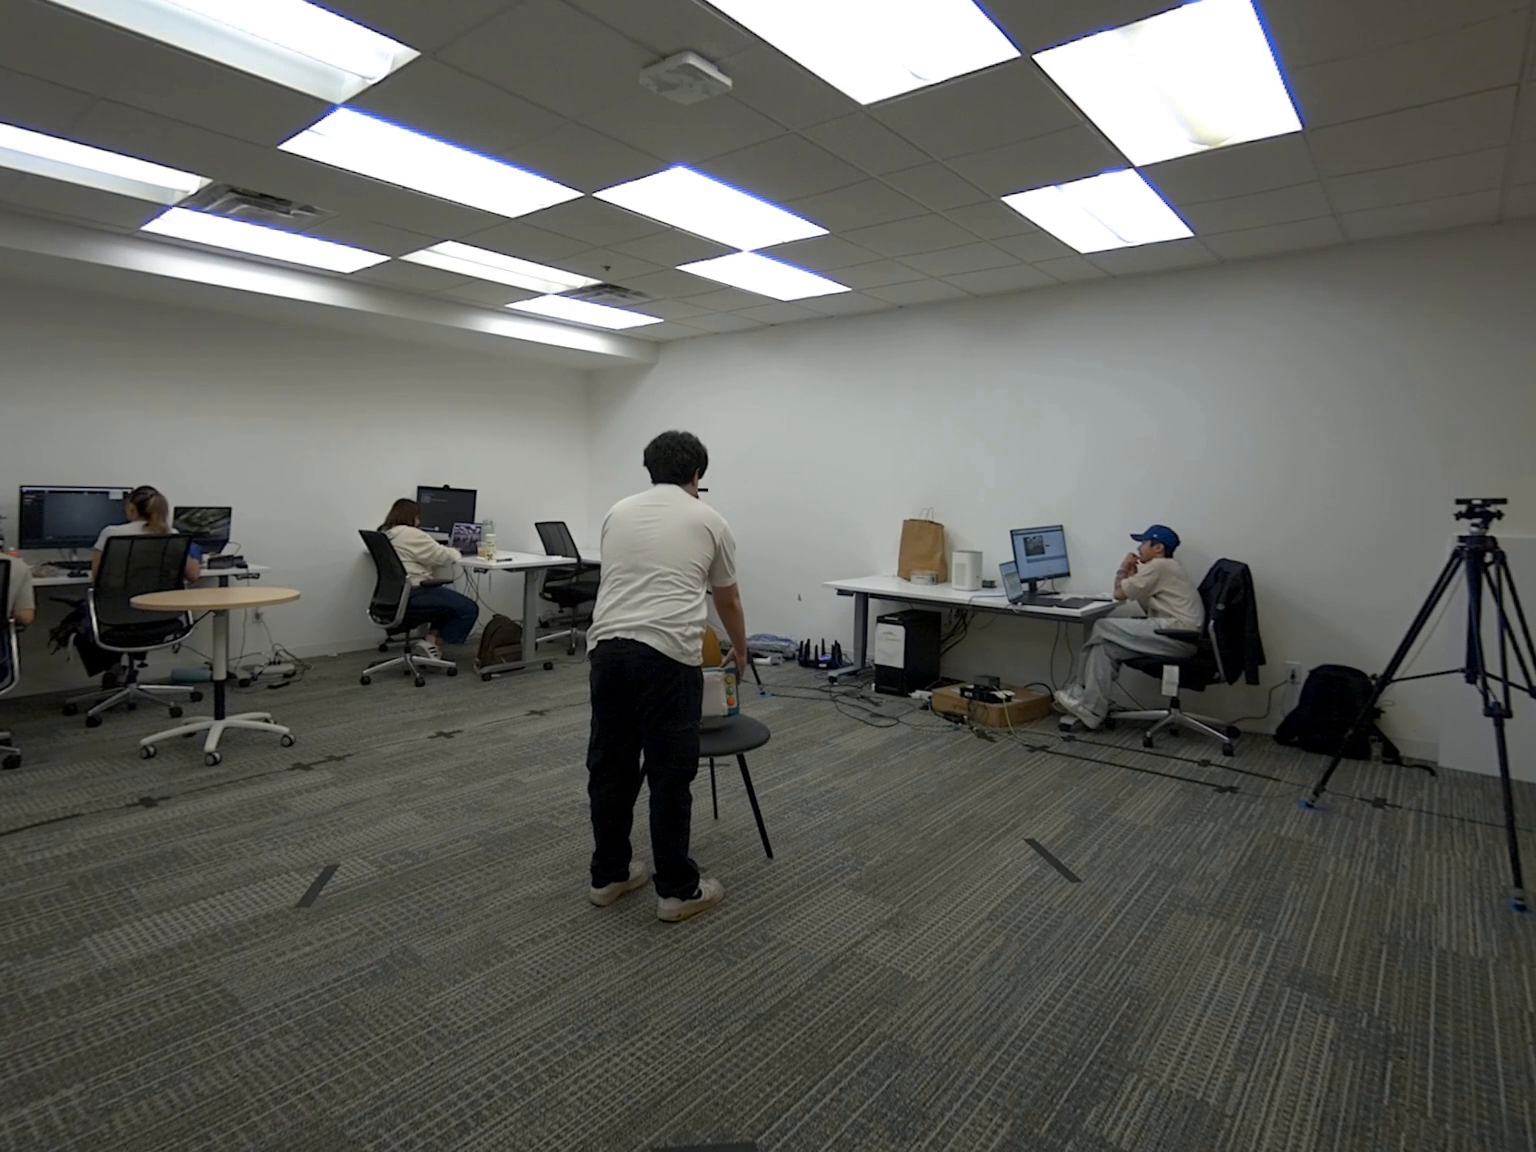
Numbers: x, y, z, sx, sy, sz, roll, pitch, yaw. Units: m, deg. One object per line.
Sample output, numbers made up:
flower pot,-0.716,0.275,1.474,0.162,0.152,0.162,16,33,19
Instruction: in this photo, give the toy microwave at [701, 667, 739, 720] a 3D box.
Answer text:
toy microwave,-0.262,0.444,3.213,0.282,0.185,0.154,-2,-4,-15
